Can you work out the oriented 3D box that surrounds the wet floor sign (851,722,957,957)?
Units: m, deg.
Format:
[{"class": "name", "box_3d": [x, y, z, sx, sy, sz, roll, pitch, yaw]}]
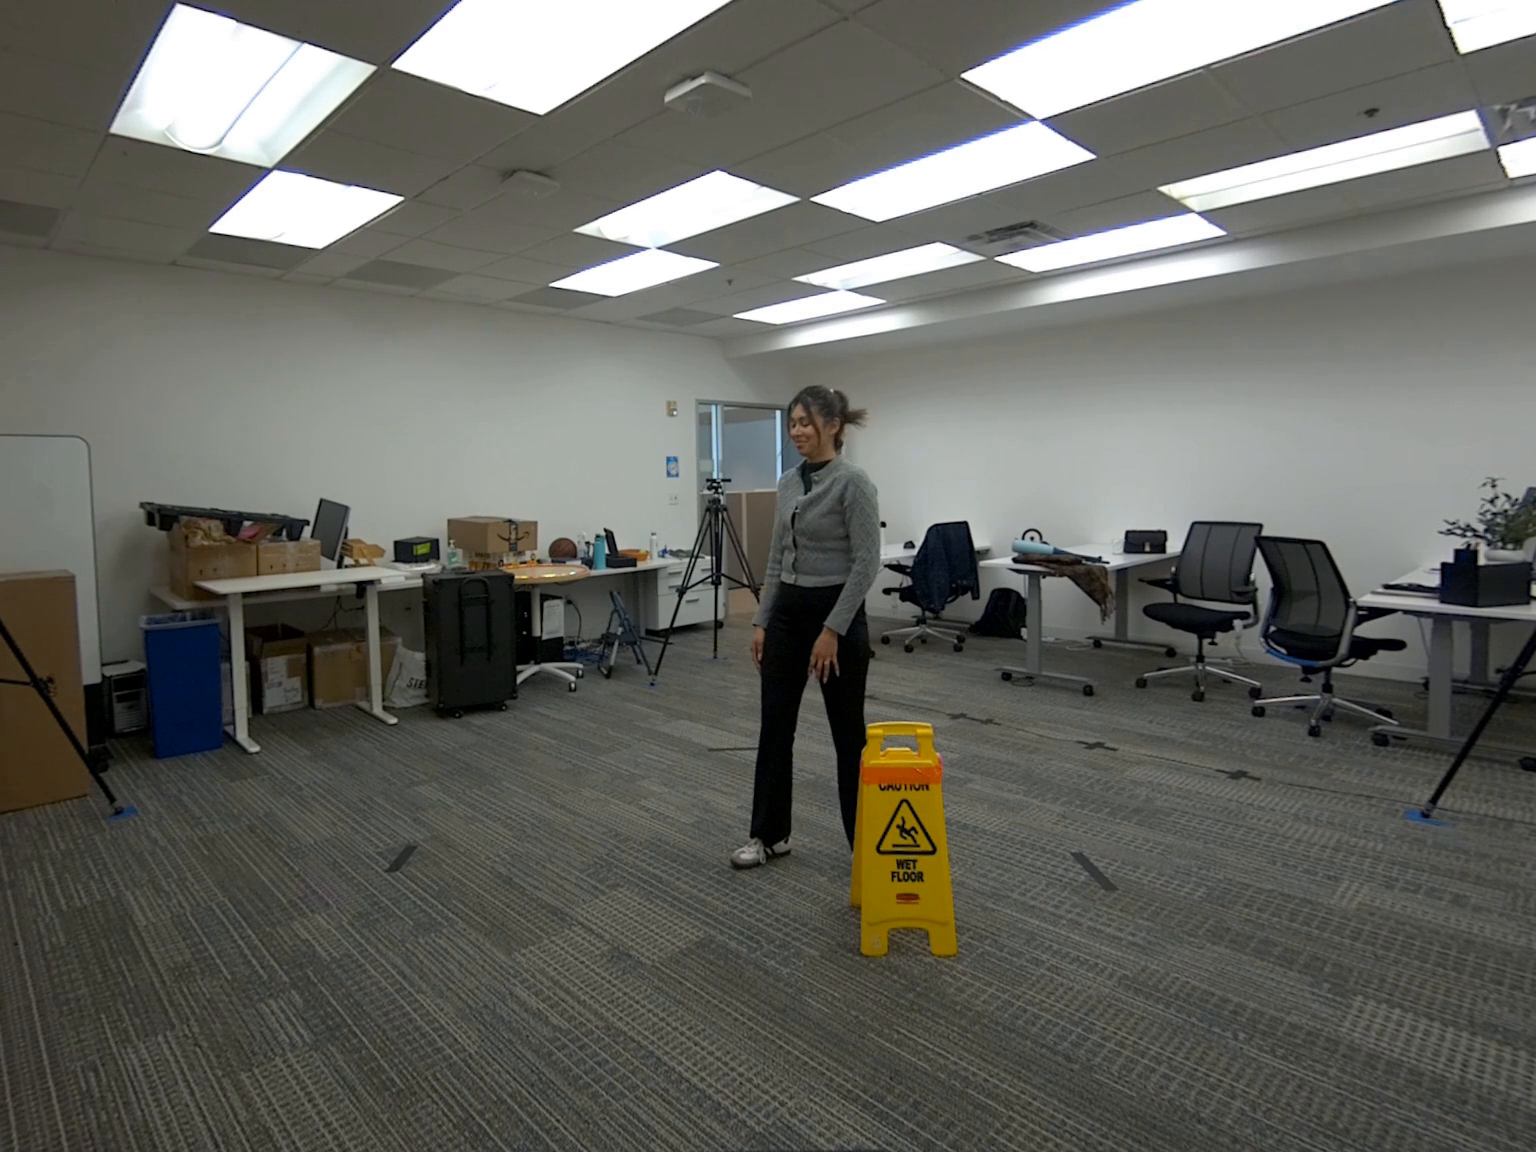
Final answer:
[{"class": "wet floor sign", "box_3d": [0.404, 0.768, 2.616, 0.282, 0.644, 0.291, -3, 4, 0]}]
